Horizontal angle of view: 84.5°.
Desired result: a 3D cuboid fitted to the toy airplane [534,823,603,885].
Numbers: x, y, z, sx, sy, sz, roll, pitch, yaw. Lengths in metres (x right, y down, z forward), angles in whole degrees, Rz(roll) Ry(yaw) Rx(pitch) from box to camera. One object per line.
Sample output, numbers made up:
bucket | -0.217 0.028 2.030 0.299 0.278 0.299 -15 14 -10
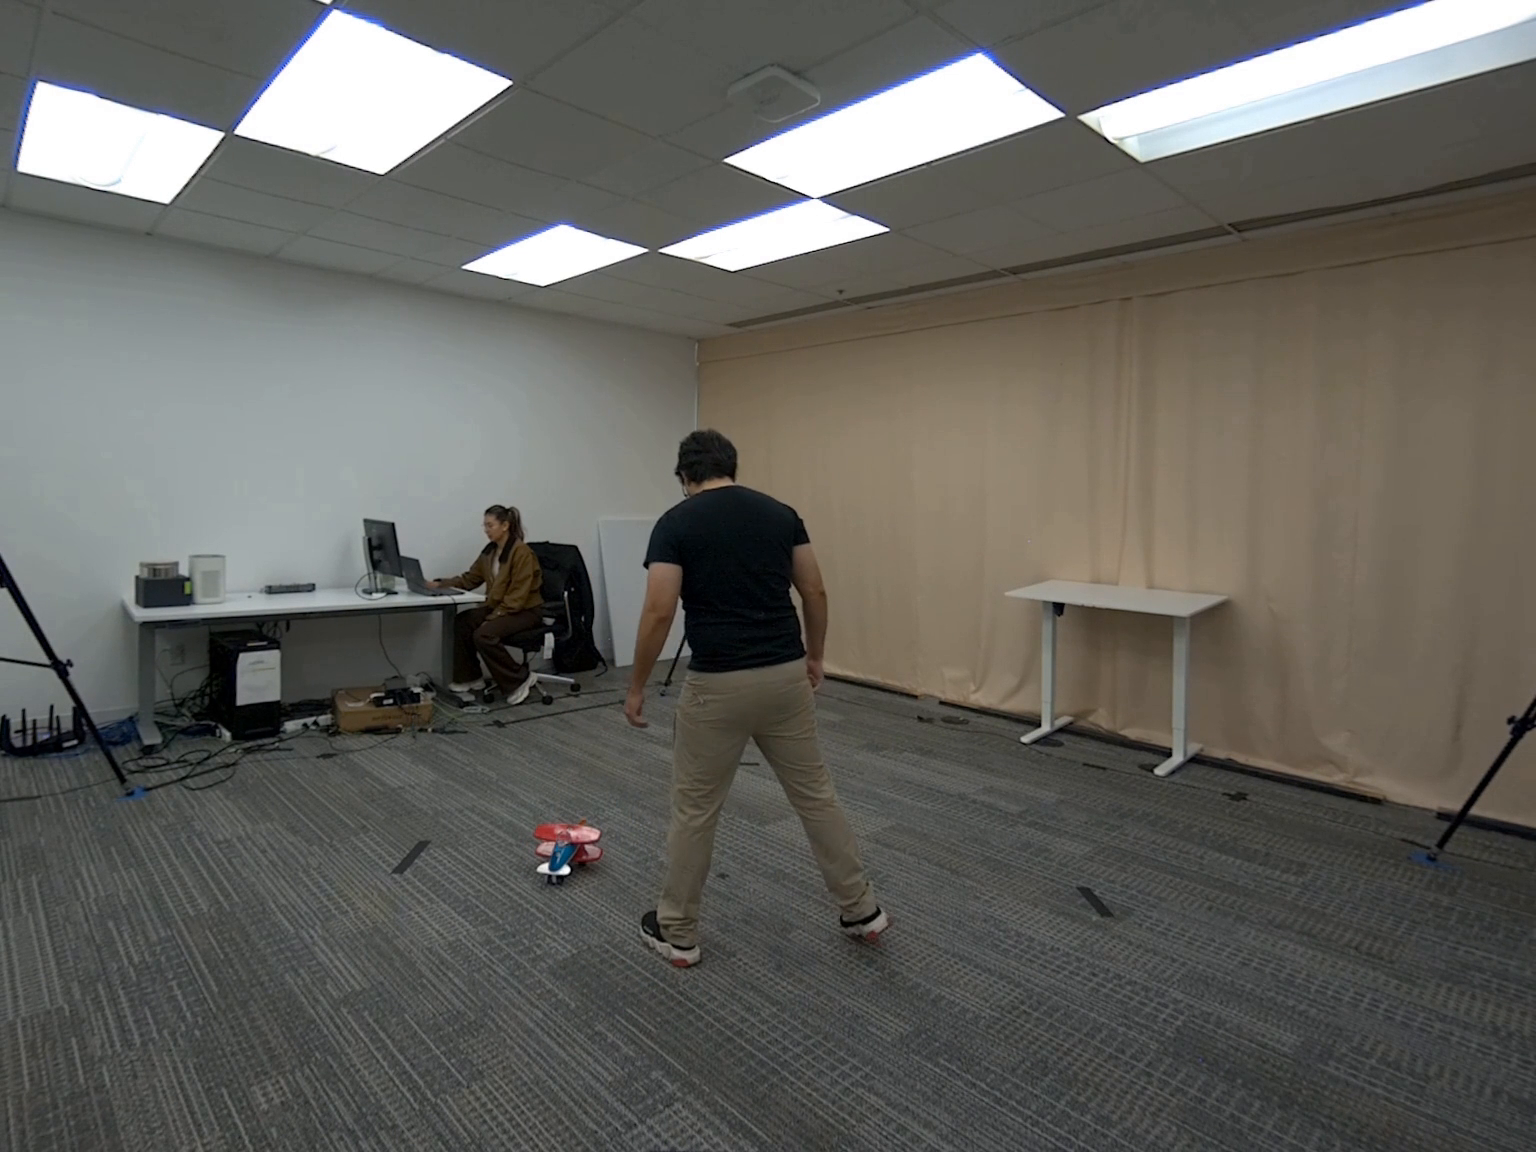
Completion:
toy airplane | -0.735 1.020 3.094 0.247 0.156 0.263 -1 3 -21
